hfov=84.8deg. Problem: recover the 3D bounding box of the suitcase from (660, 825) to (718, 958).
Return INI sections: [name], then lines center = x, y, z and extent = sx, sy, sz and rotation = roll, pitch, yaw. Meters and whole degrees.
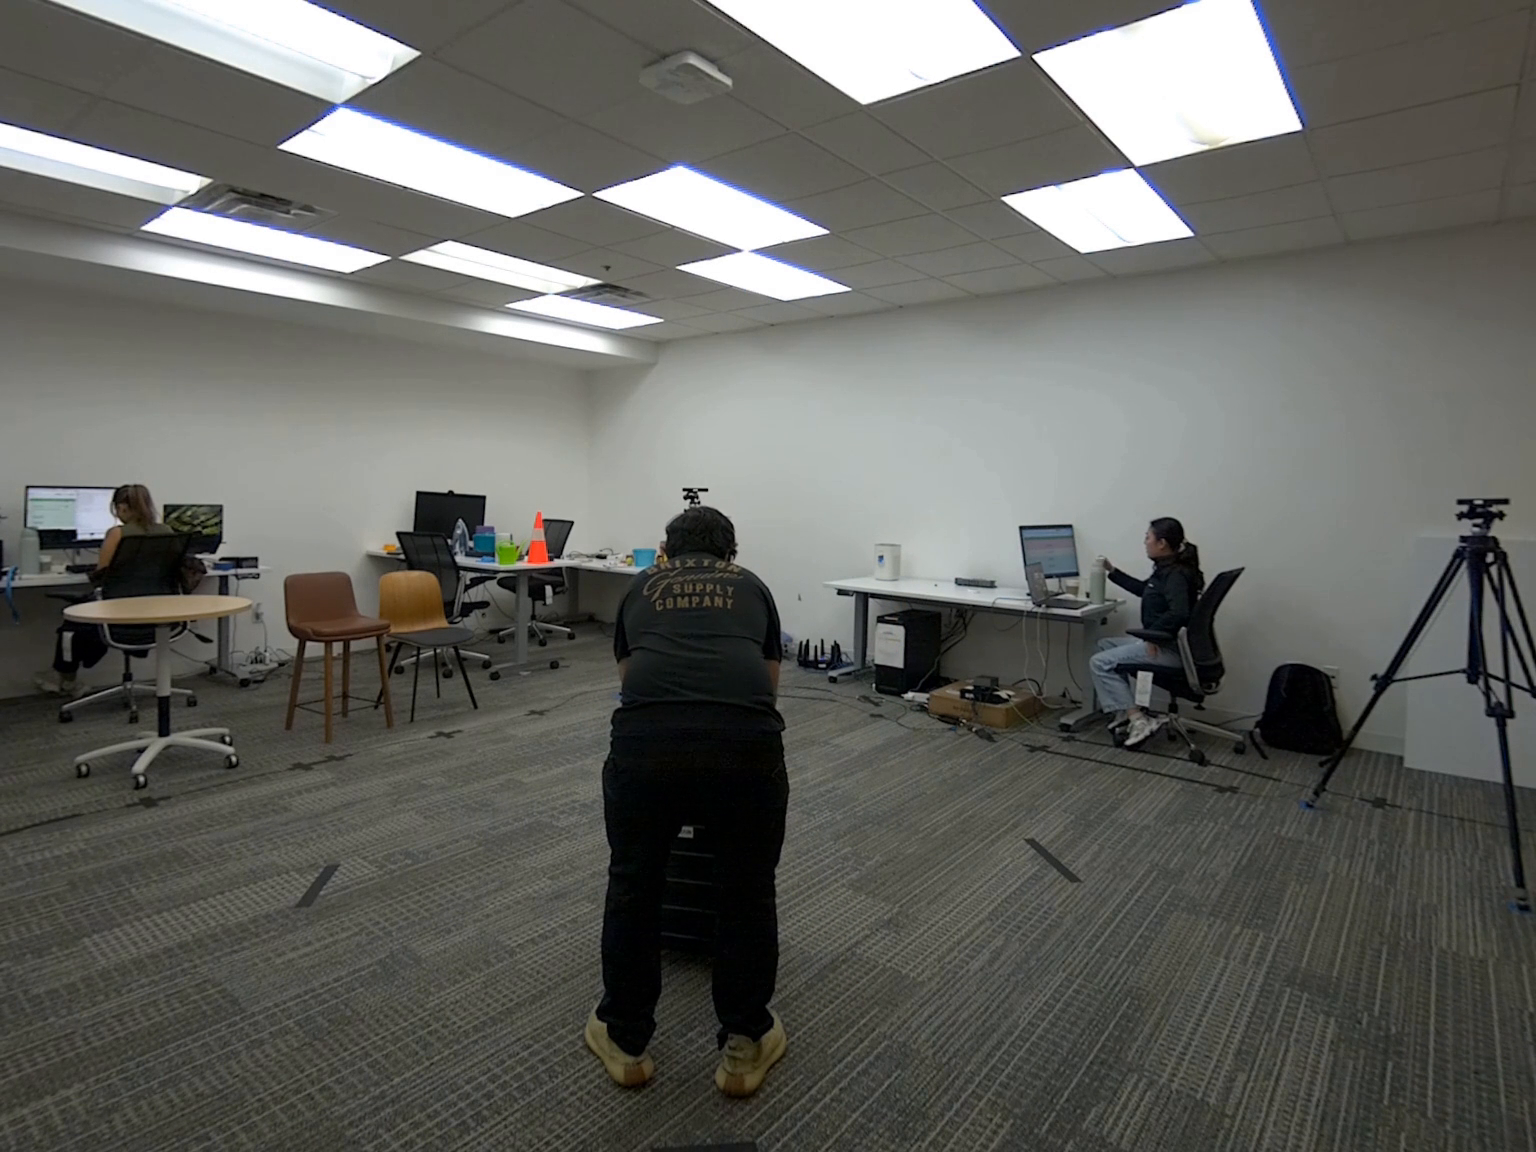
[suitcase]
center = -0.219, 0.842, 2.544
extent = 0.380, 0.548, 0.245
rotation = 2, 2, 11
